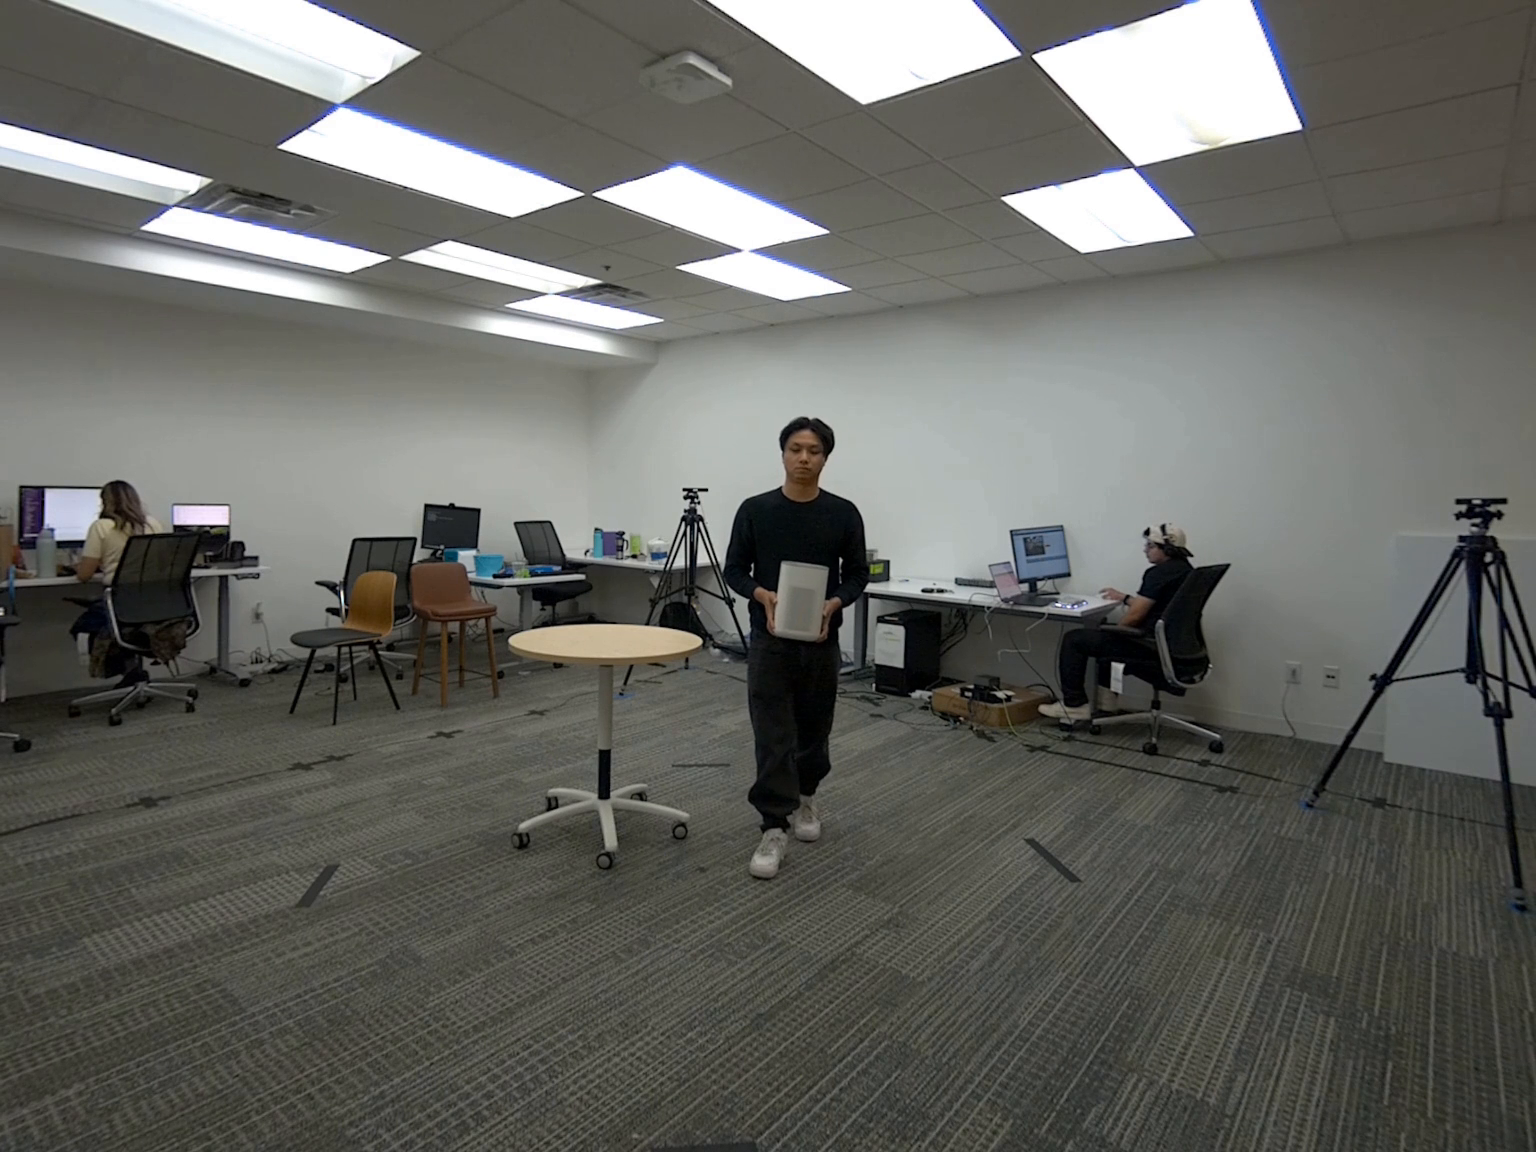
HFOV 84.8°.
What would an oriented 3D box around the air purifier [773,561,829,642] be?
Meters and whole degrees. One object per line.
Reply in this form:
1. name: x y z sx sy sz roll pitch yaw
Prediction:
1. air purifier: 0.111 0.084 3.069 0.172 0.265 0.170 5 2 3
